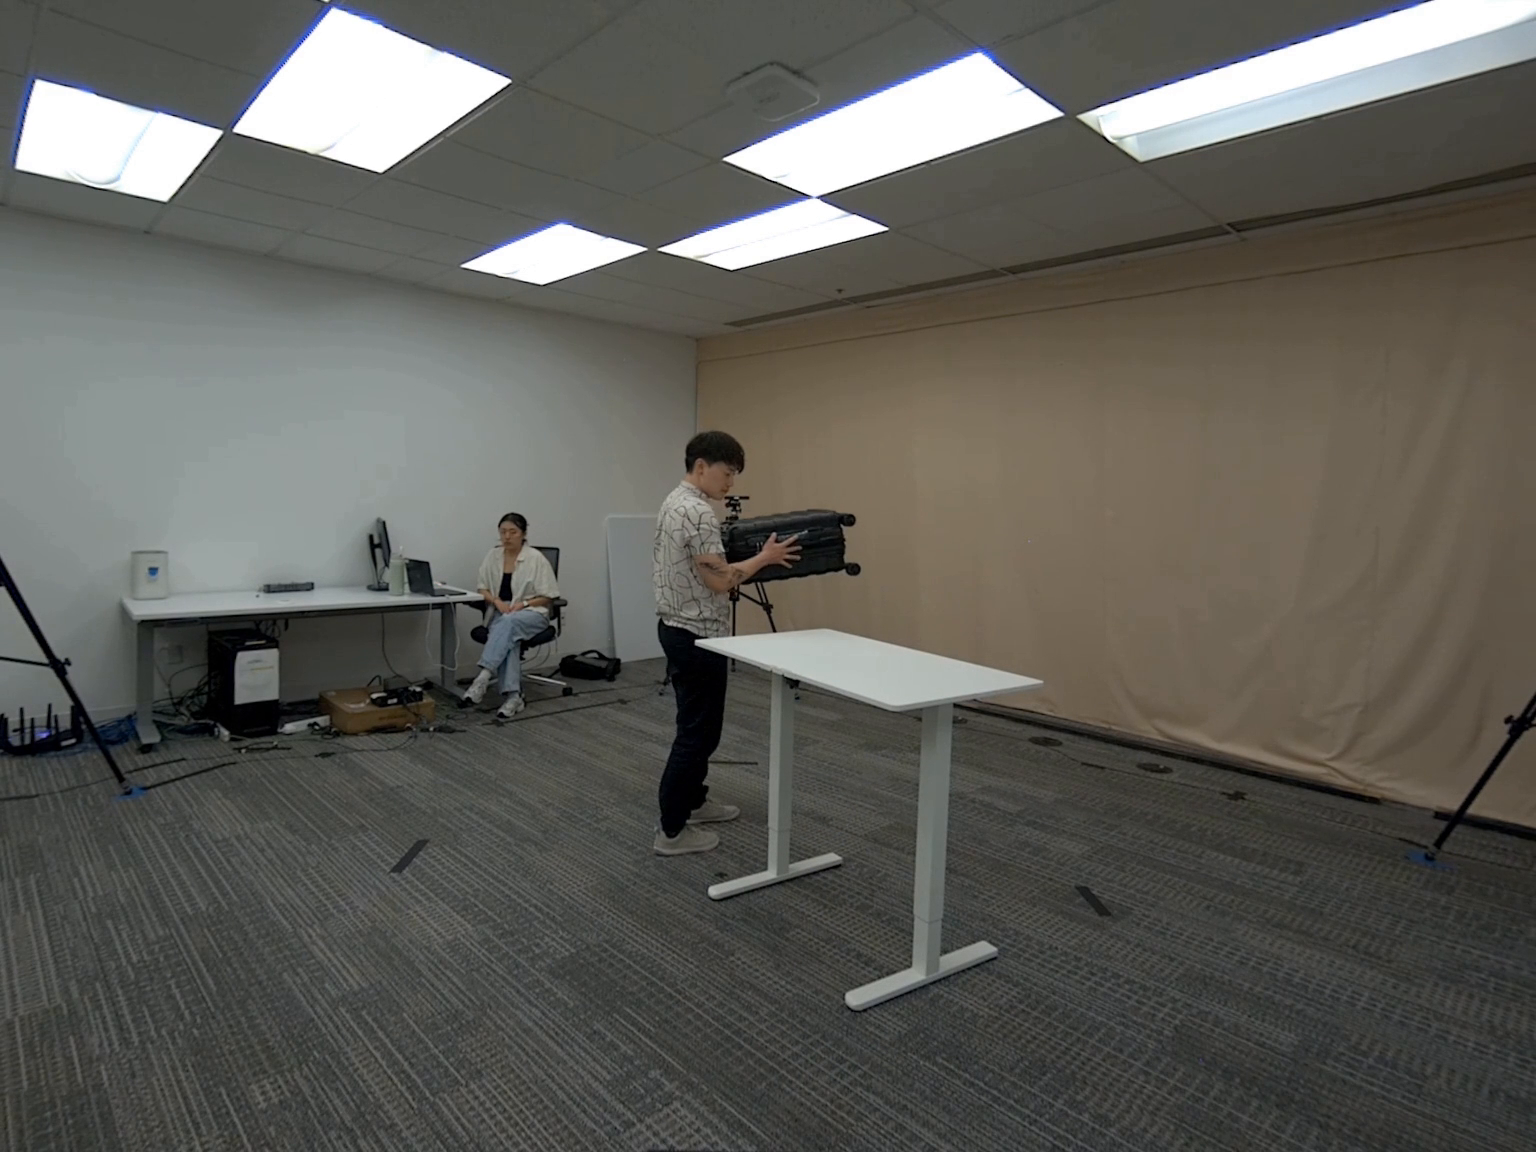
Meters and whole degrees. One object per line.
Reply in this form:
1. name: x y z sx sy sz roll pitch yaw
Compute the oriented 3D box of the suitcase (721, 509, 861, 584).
1. suitcase: 0.045 -0.134 3.571 0.543 0.247 0.382 -8 9 -16
